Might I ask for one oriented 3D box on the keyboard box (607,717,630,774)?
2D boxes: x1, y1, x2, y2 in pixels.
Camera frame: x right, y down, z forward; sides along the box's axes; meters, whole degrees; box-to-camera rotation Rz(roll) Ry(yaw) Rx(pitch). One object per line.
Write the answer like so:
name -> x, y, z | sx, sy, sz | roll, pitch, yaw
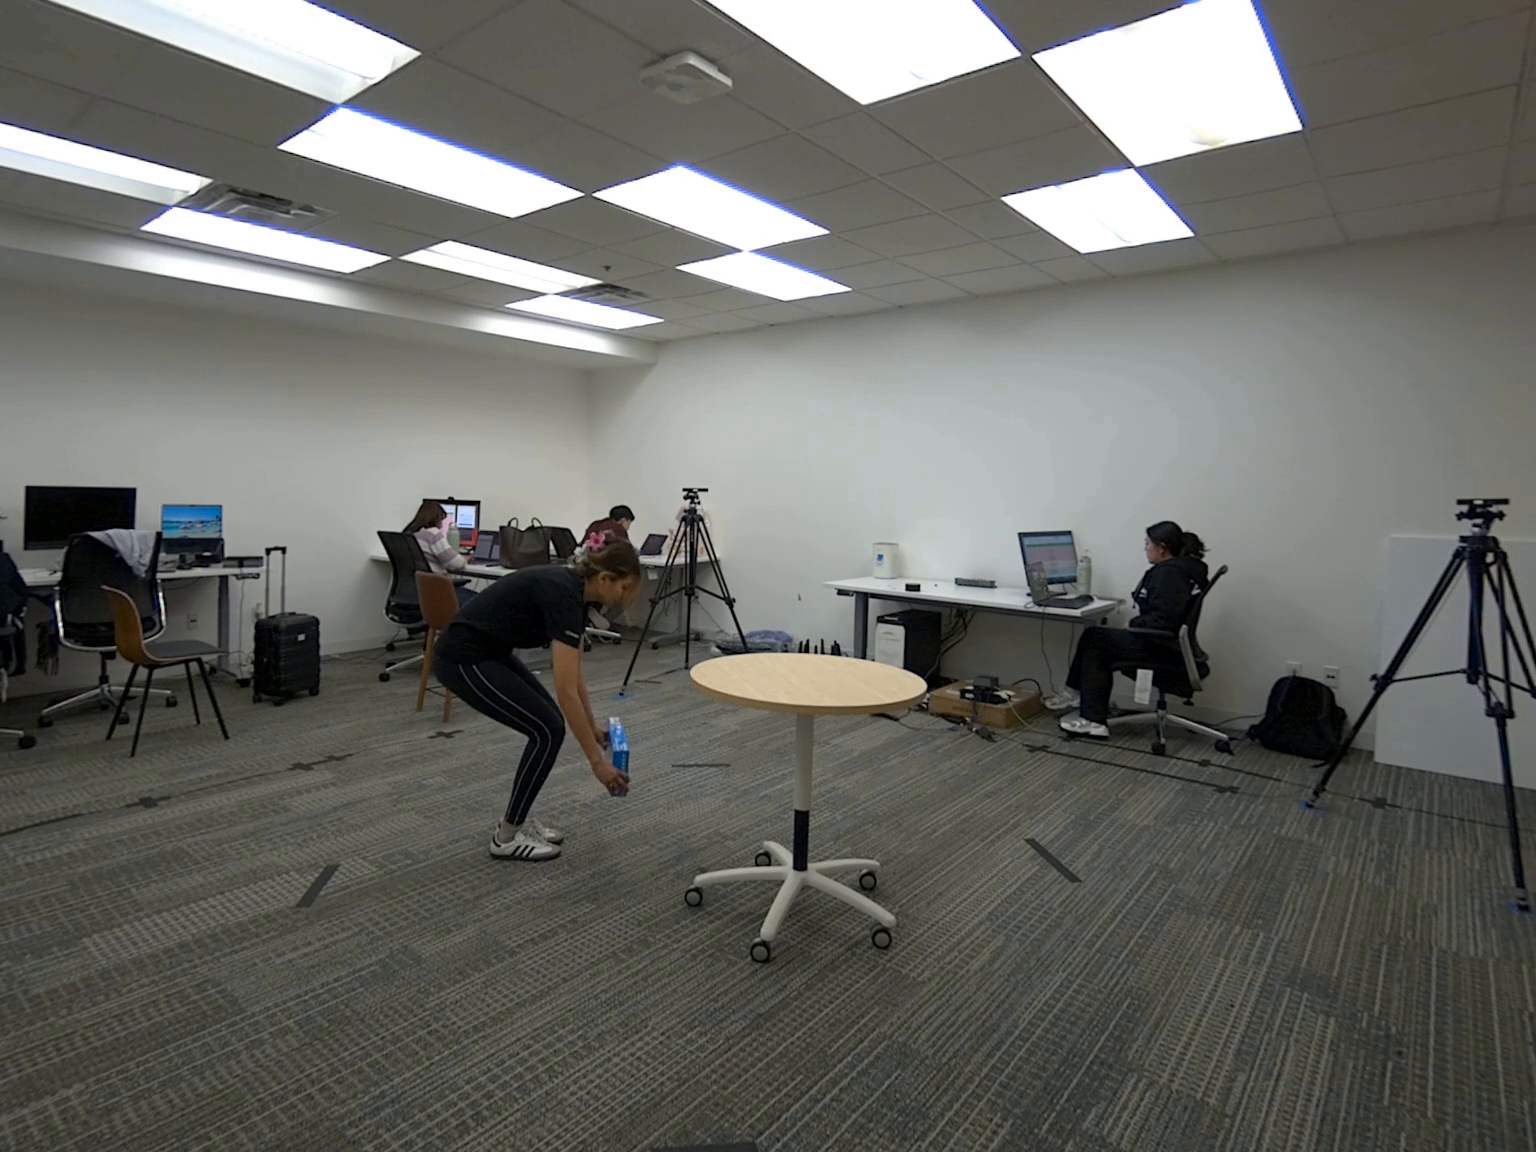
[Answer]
keyboard box -> -0.595, 0.688, 3.286 | 0.058, 0.175, 0.444 | 1, 6, -14
